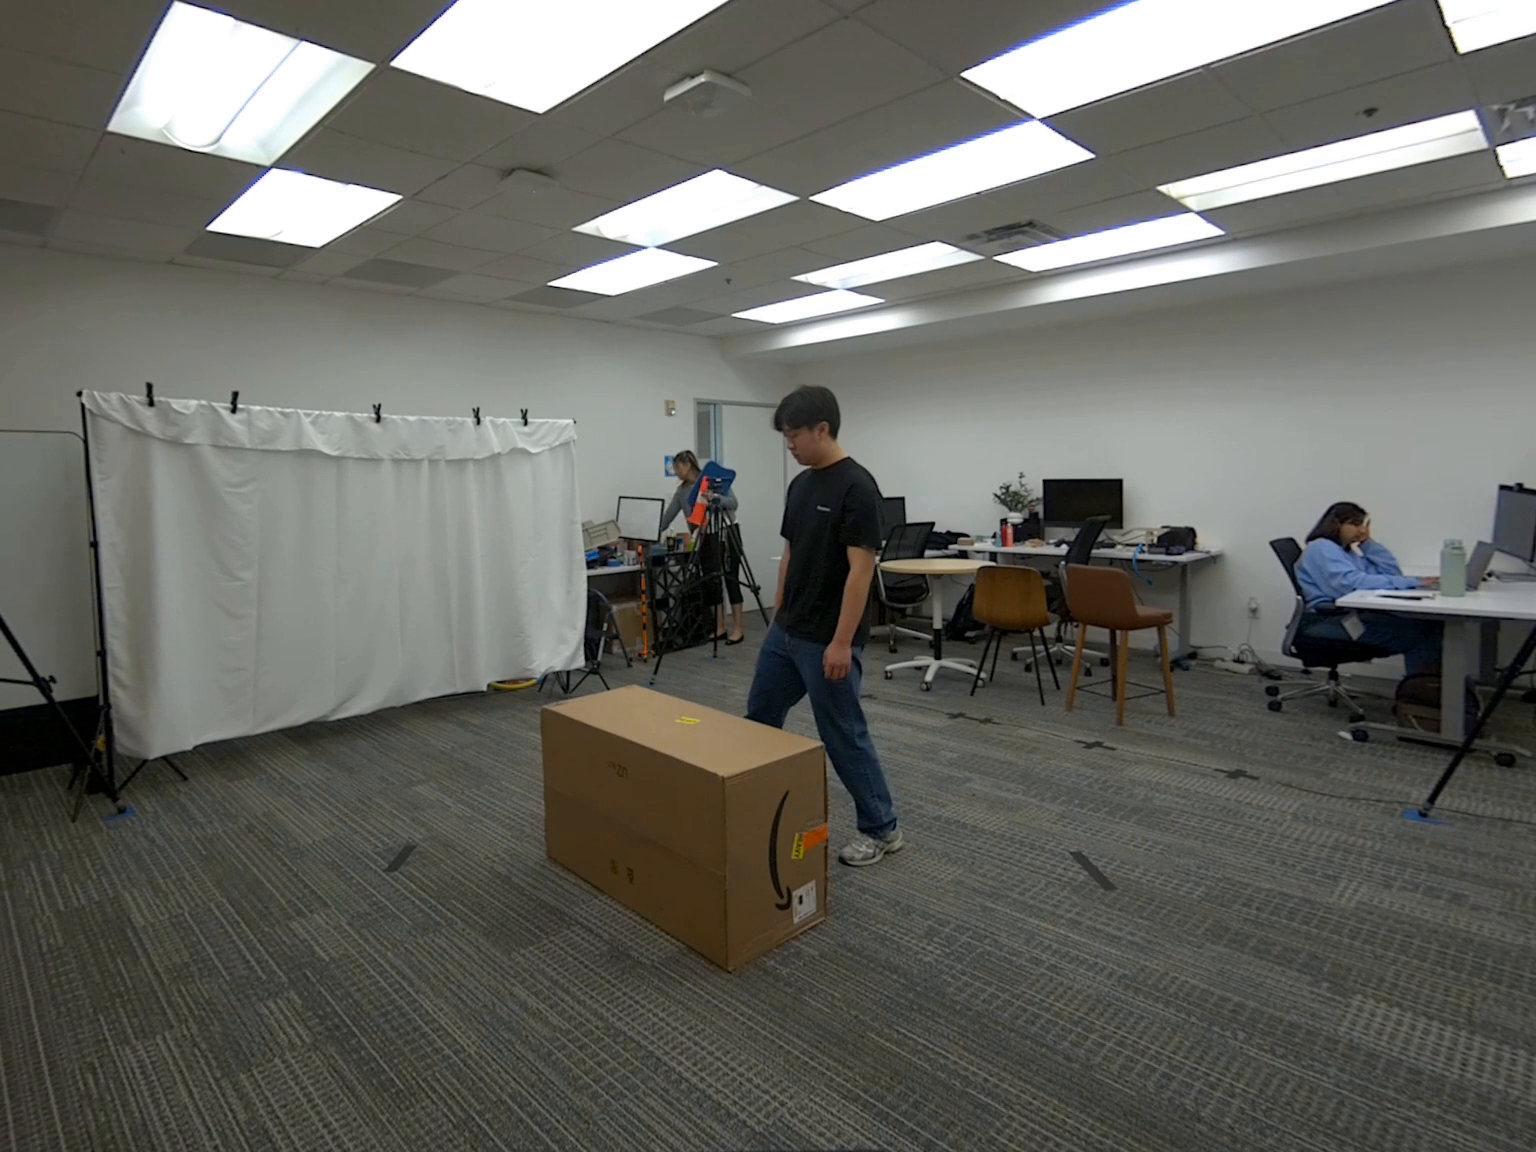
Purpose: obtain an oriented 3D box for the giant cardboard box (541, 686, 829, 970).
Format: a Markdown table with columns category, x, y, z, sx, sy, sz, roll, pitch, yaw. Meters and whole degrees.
| category | x | y | z | sx | sy | sz | roll | pitch | yaw |
| --- | --- | --- | --- | --- | --- | --- | --- | --- | --- |
| giant cardboard box | -0.323 | 0.784 | 2.917 | 0.435 | 0.582 | 1.059 | -4 | 7 | -43 |
